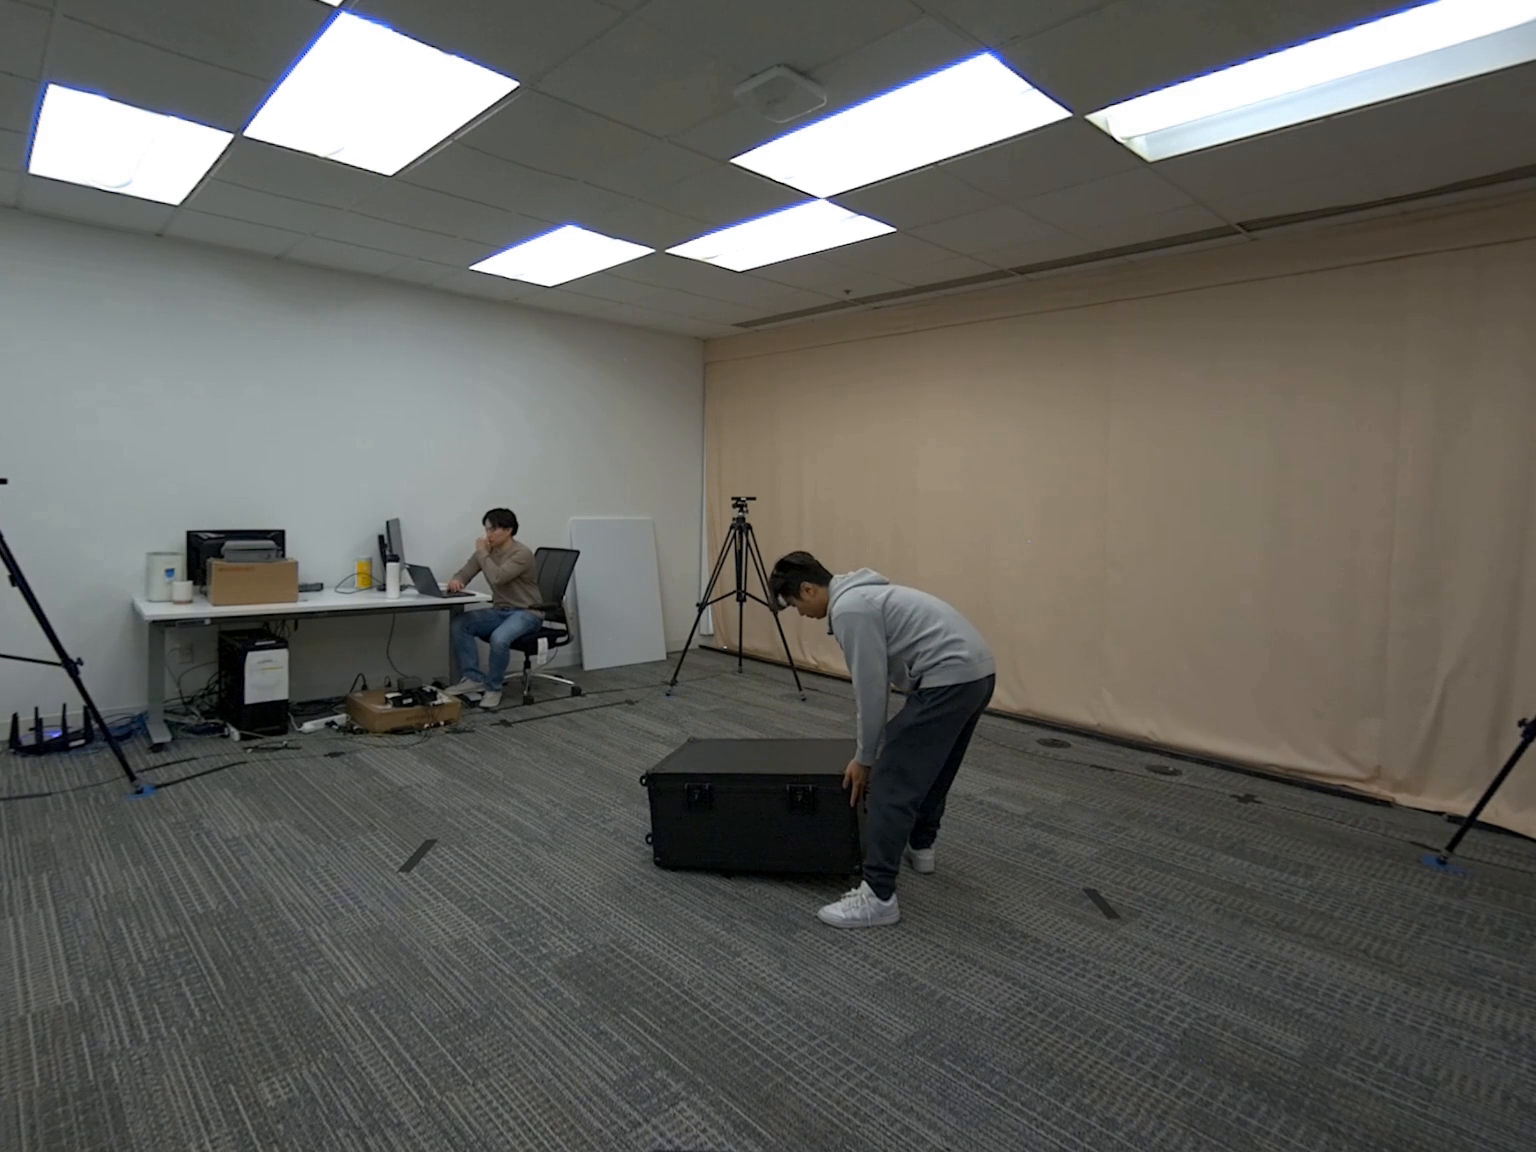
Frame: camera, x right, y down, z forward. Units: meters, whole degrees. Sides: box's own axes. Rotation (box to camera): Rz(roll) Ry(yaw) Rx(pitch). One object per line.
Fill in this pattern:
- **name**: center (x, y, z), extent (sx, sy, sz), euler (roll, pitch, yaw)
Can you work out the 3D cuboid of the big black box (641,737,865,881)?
- **big black box**: center (-0.037, 0.866, 3.264), extent (0.872, 0.396, 0.515), euler (-2, 3, 17)
